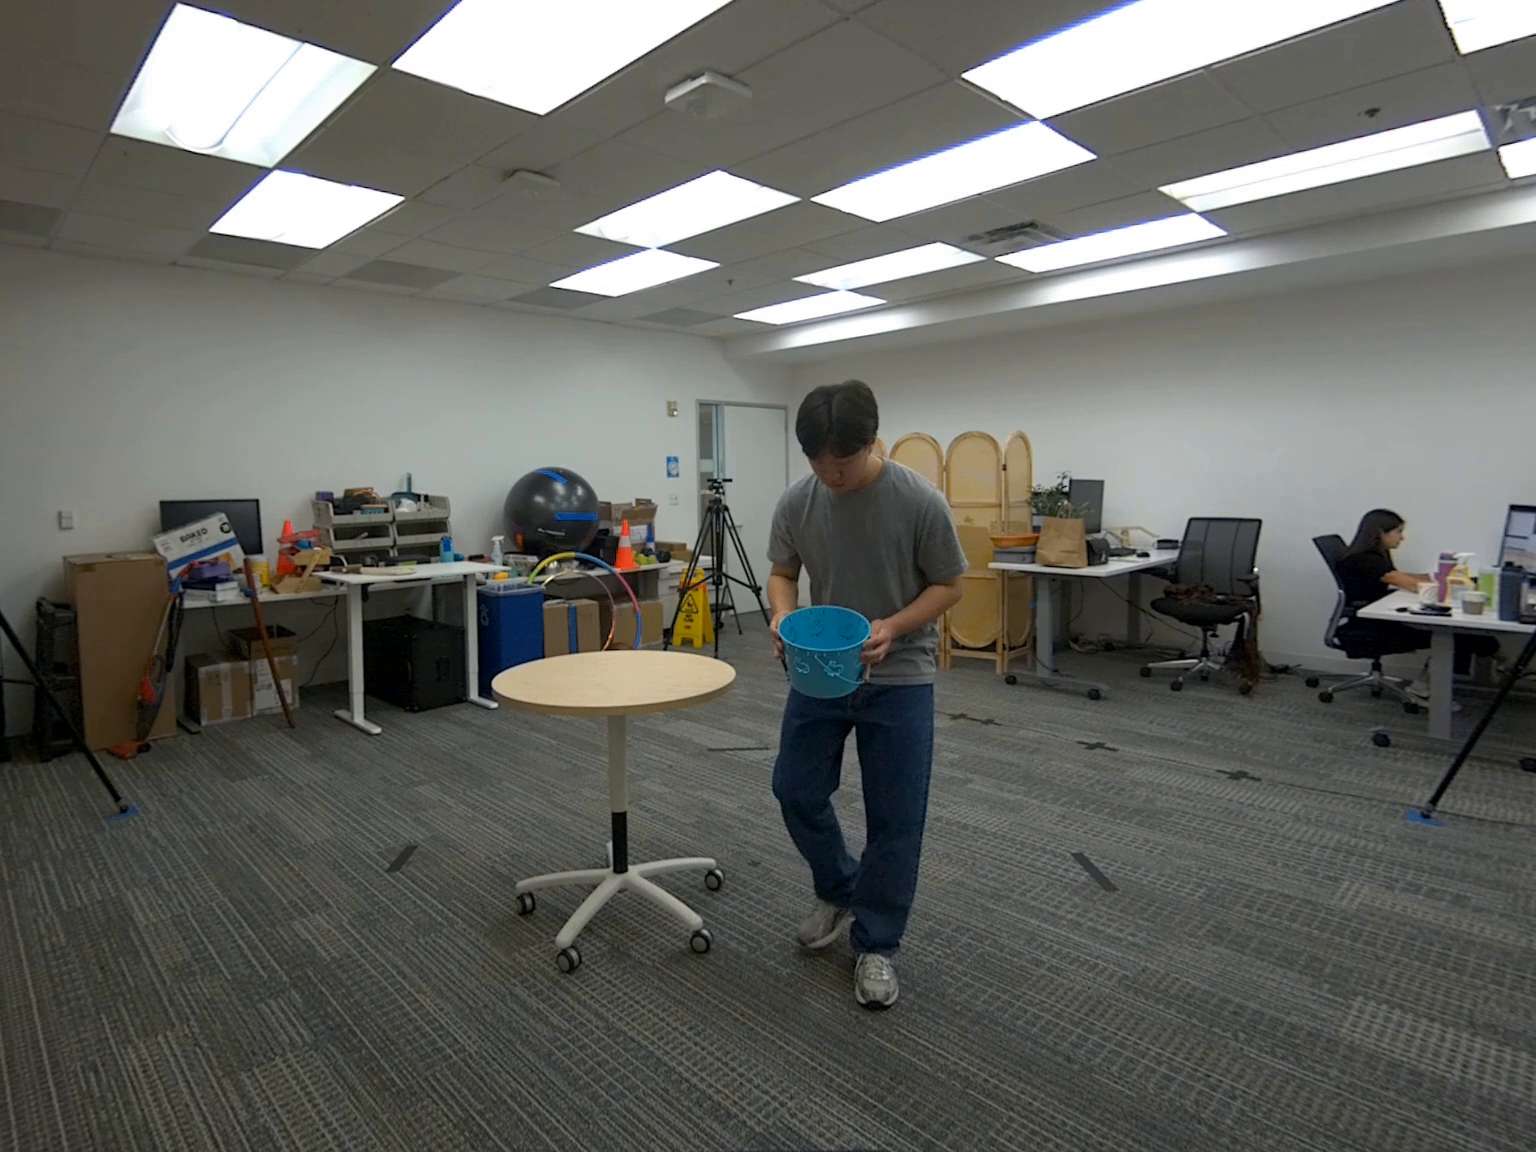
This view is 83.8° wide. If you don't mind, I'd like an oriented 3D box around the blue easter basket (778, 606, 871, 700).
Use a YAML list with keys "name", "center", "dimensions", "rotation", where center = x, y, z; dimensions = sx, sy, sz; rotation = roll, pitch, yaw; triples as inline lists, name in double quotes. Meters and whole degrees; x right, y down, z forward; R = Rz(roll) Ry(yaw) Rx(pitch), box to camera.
- name: "blue easter basket"
  center: [0.153, 0.204, 2.181]
  dimensions: [0.243, 0.153, 0.248]
  rotation: [-1, 22, -1]
